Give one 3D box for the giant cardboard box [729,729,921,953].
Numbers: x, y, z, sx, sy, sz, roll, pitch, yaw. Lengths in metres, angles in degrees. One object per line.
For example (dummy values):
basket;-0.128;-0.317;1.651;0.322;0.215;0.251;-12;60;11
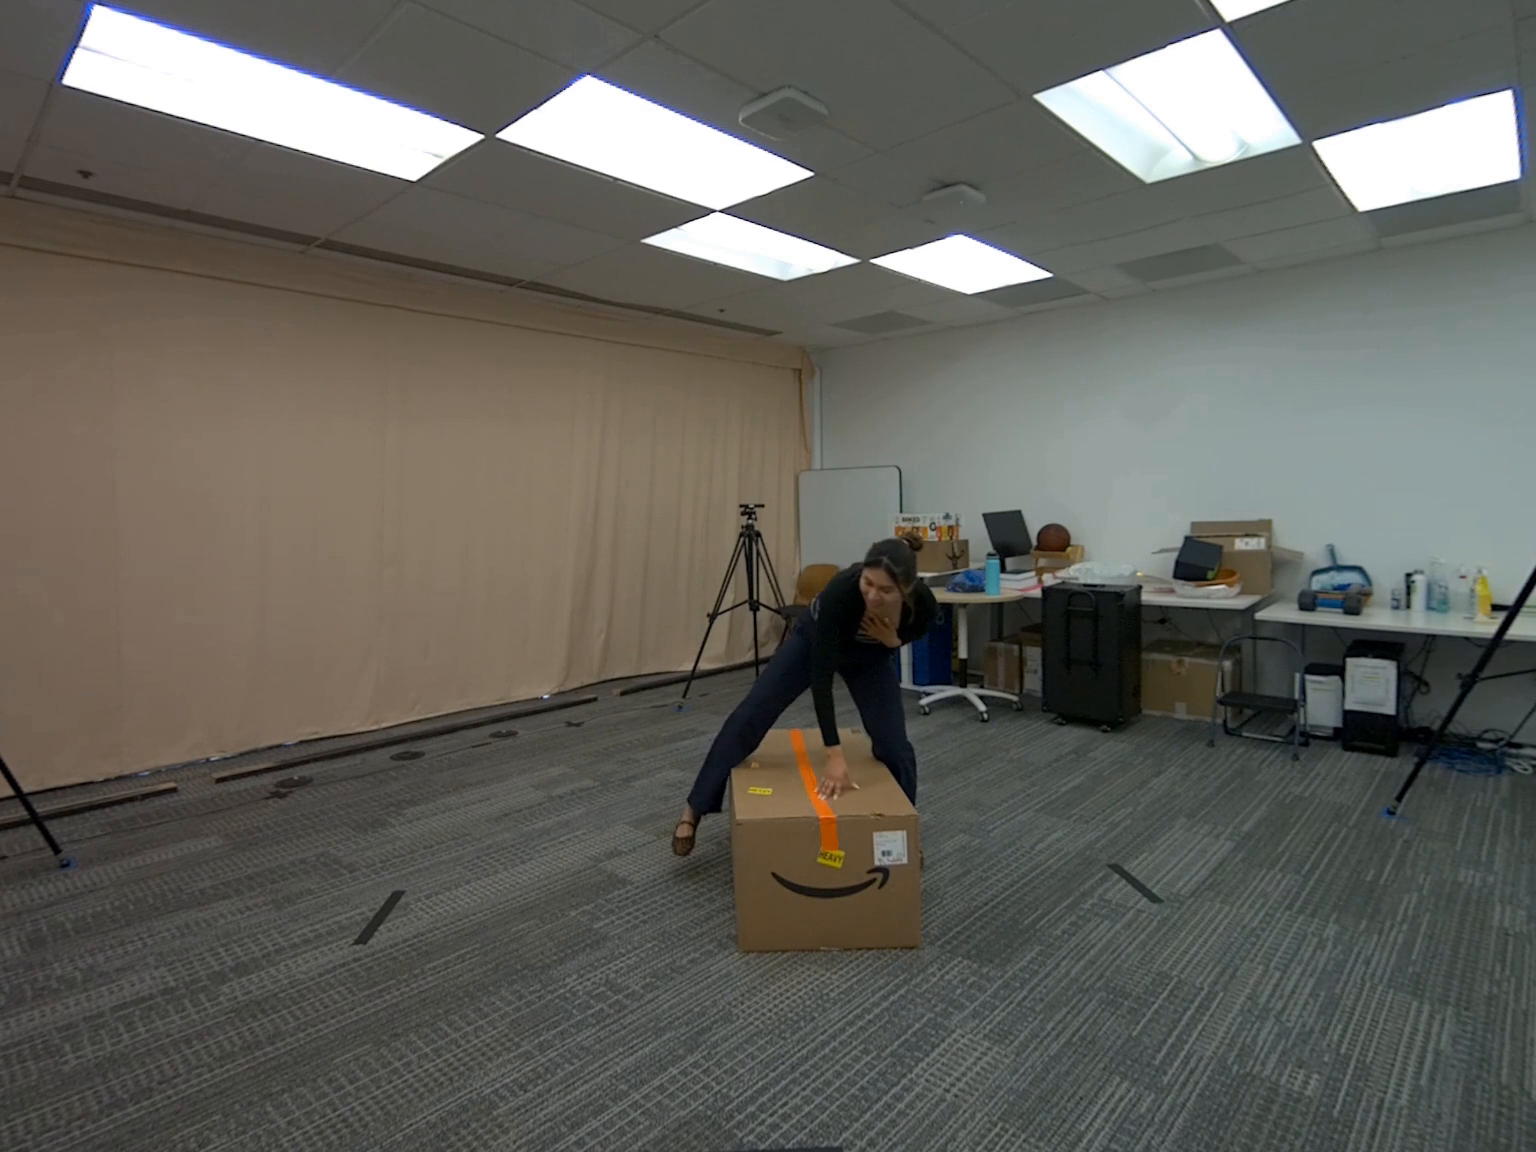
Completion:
giant cardboard box;0.162;0.915;3.119;0.576;0.425;1.031;-2;5;-3
